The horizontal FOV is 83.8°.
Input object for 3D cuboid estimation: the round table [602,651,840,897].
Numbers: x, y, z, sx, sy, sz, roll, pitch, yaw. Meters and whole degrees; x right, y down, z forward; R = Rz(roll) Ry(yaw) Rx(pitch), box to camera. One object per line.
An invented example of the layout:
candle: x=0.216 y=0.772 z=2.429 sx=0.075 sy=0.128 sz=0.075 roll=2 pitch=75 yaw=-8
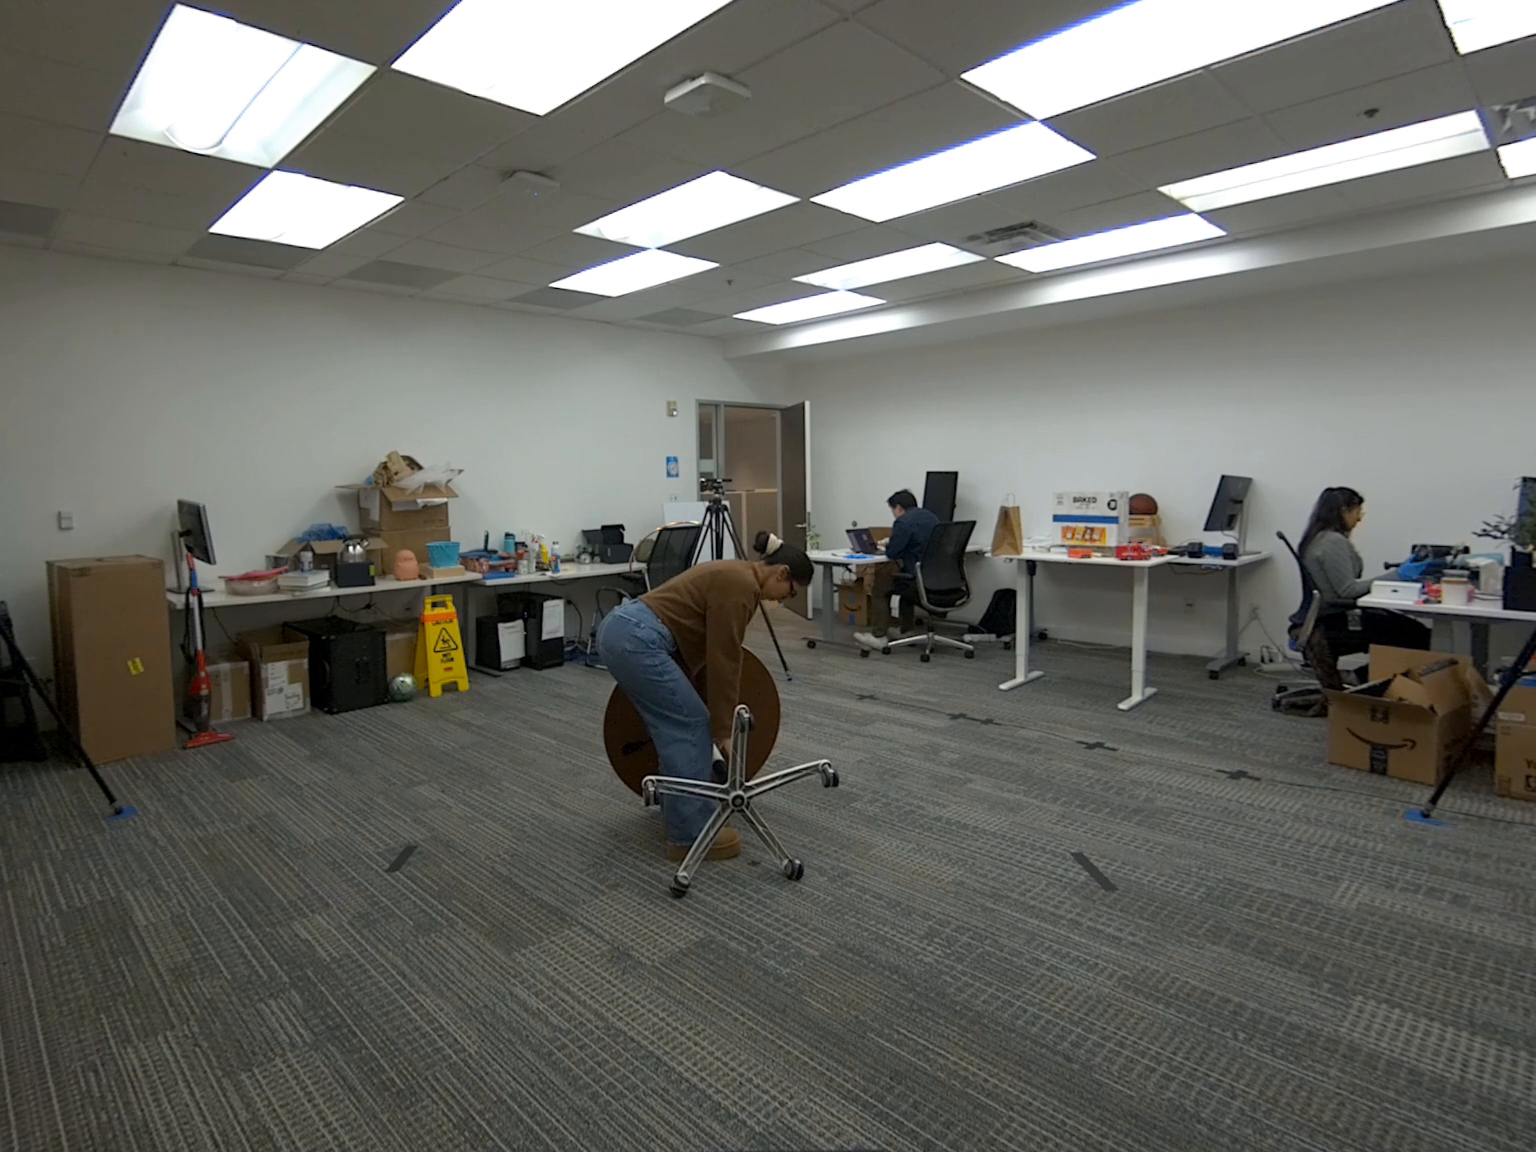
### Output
round table: x=-0.199 y=0.707 z=3.227 sx=0.754 sy=0.756 sz=0.813 roll=-2 pitch=13 yaw=-15
